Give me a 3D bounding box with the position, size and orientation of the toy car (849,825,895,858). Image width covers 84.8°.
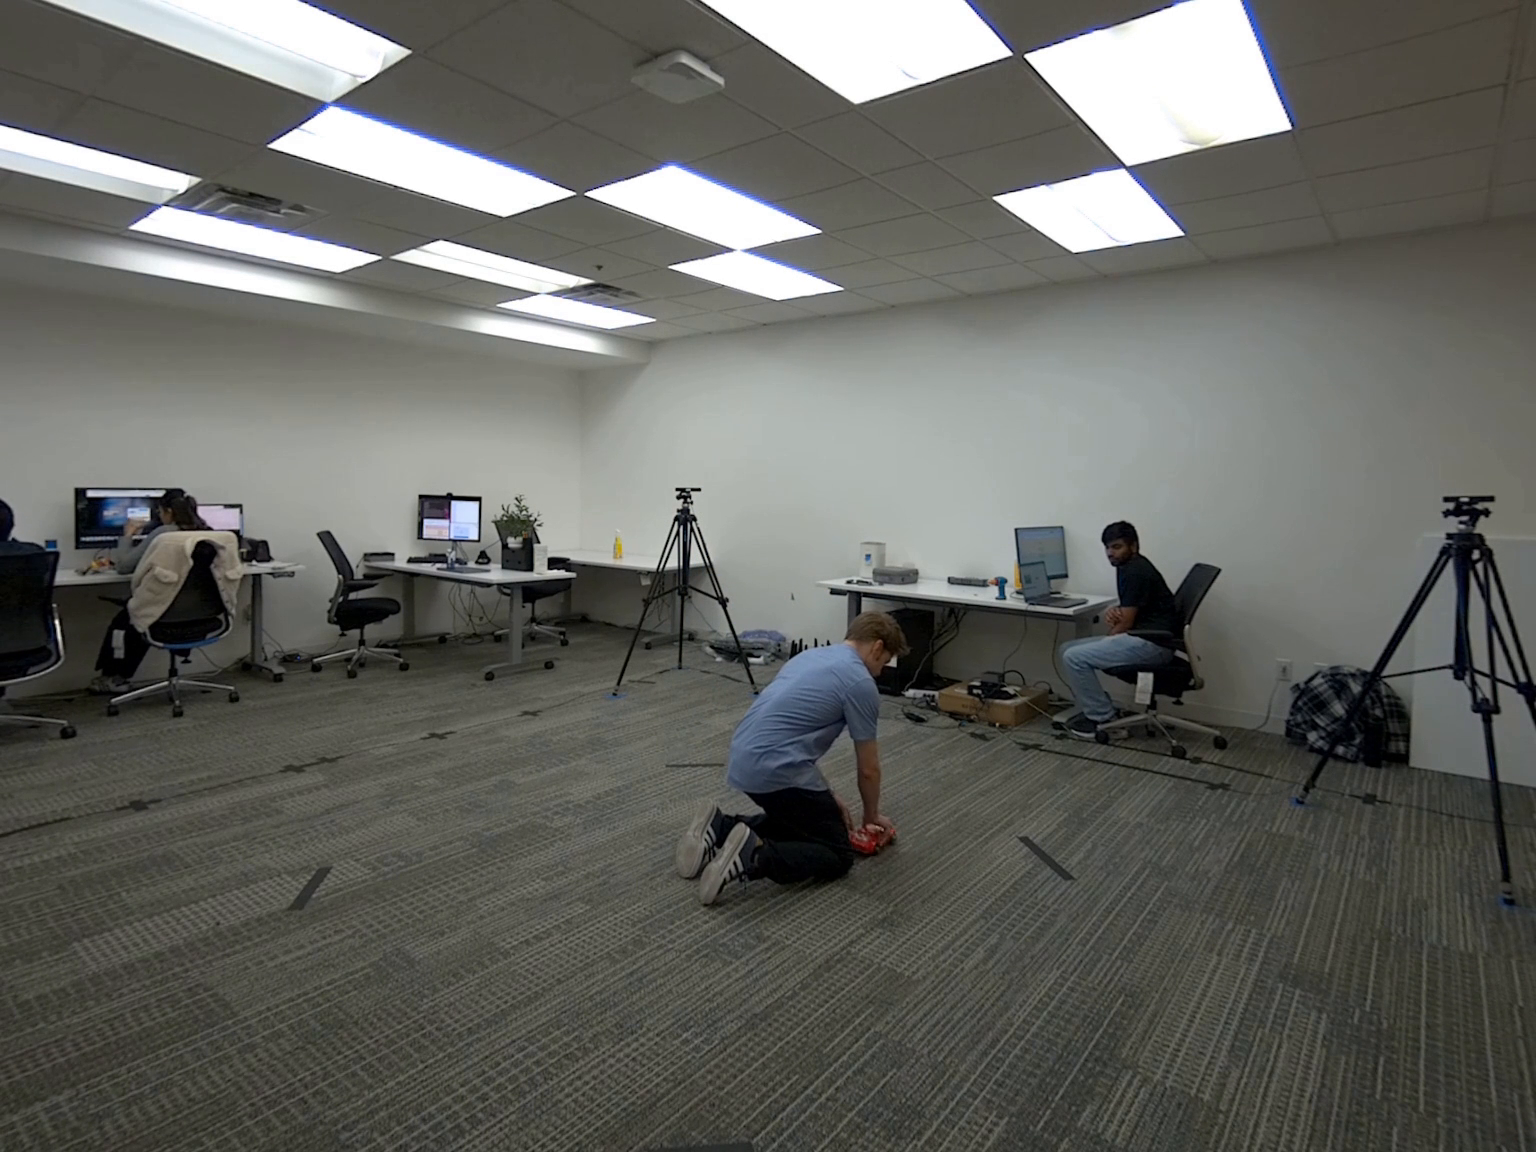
[{"bbox_3d":[0.399,1.030,3.317,0.135,0.083,0.245,6,-4,37],"label":"toy car"}]
